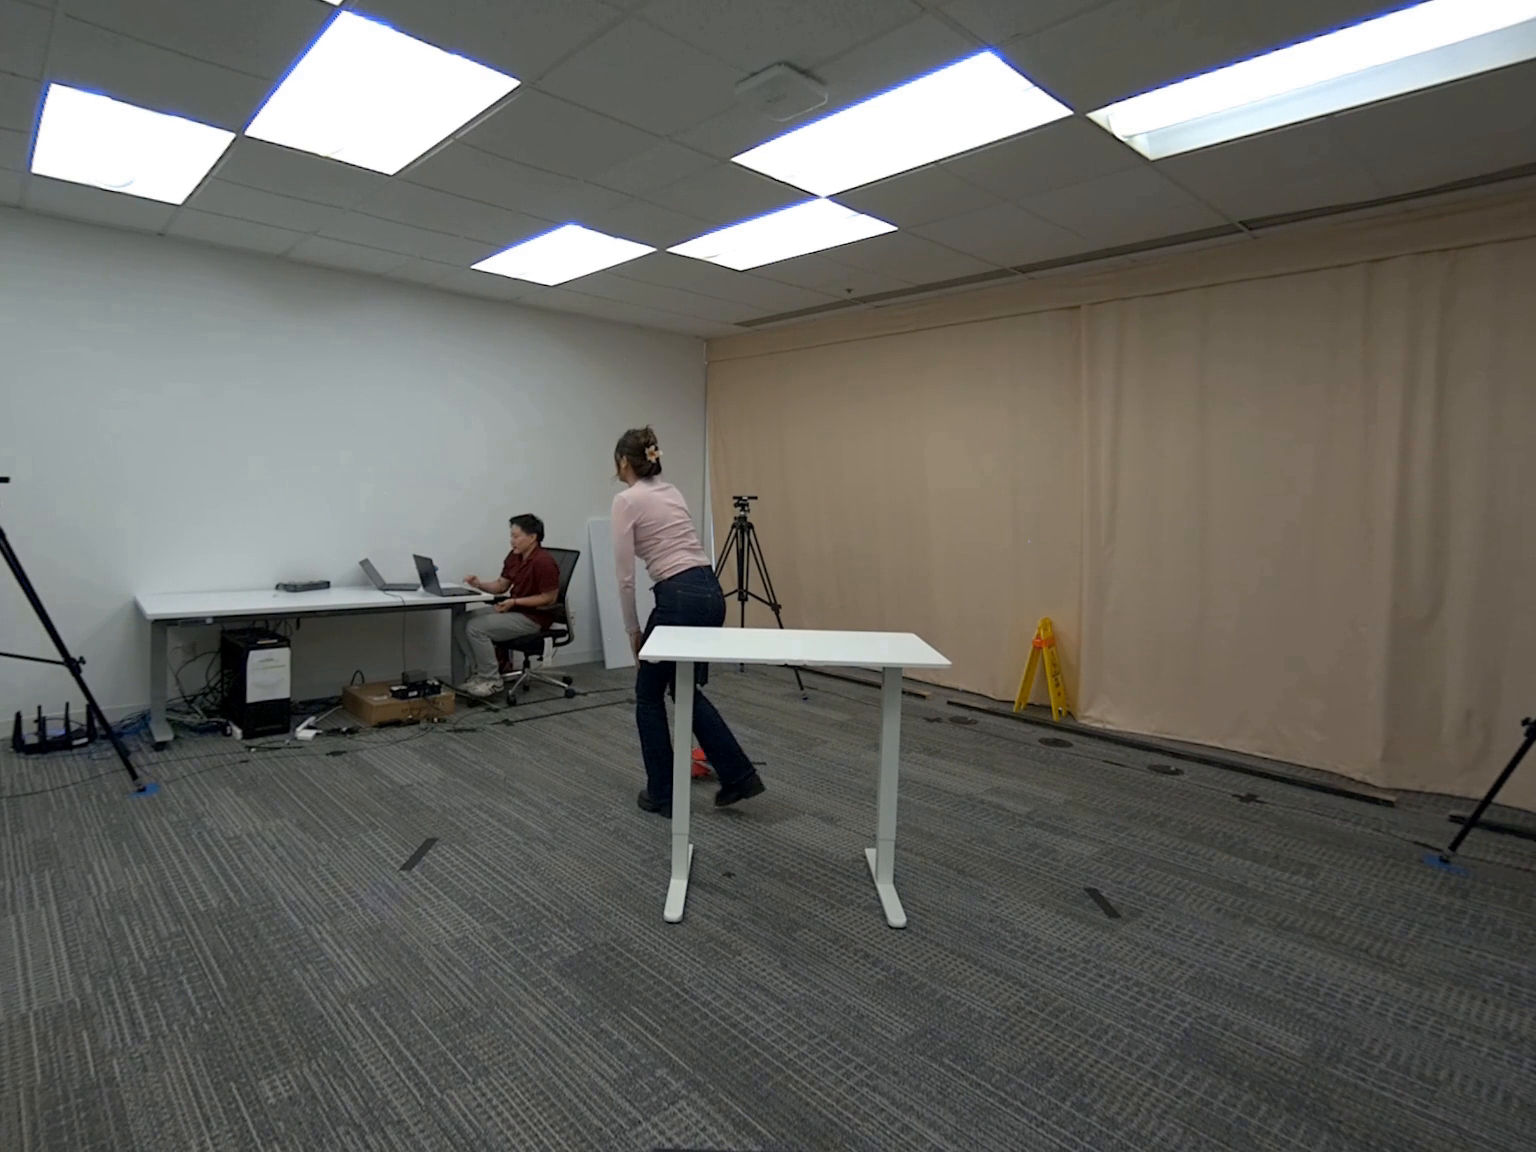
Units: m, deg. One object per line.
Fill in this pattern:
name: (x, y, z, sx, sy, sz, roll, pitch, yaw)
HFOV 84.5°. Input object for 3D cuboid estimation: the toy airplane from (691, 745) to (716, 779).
toy airplane: (-0.291, 0.940, 4.193, 0.260, 0.156, 0.250, 1, 3, 5)
